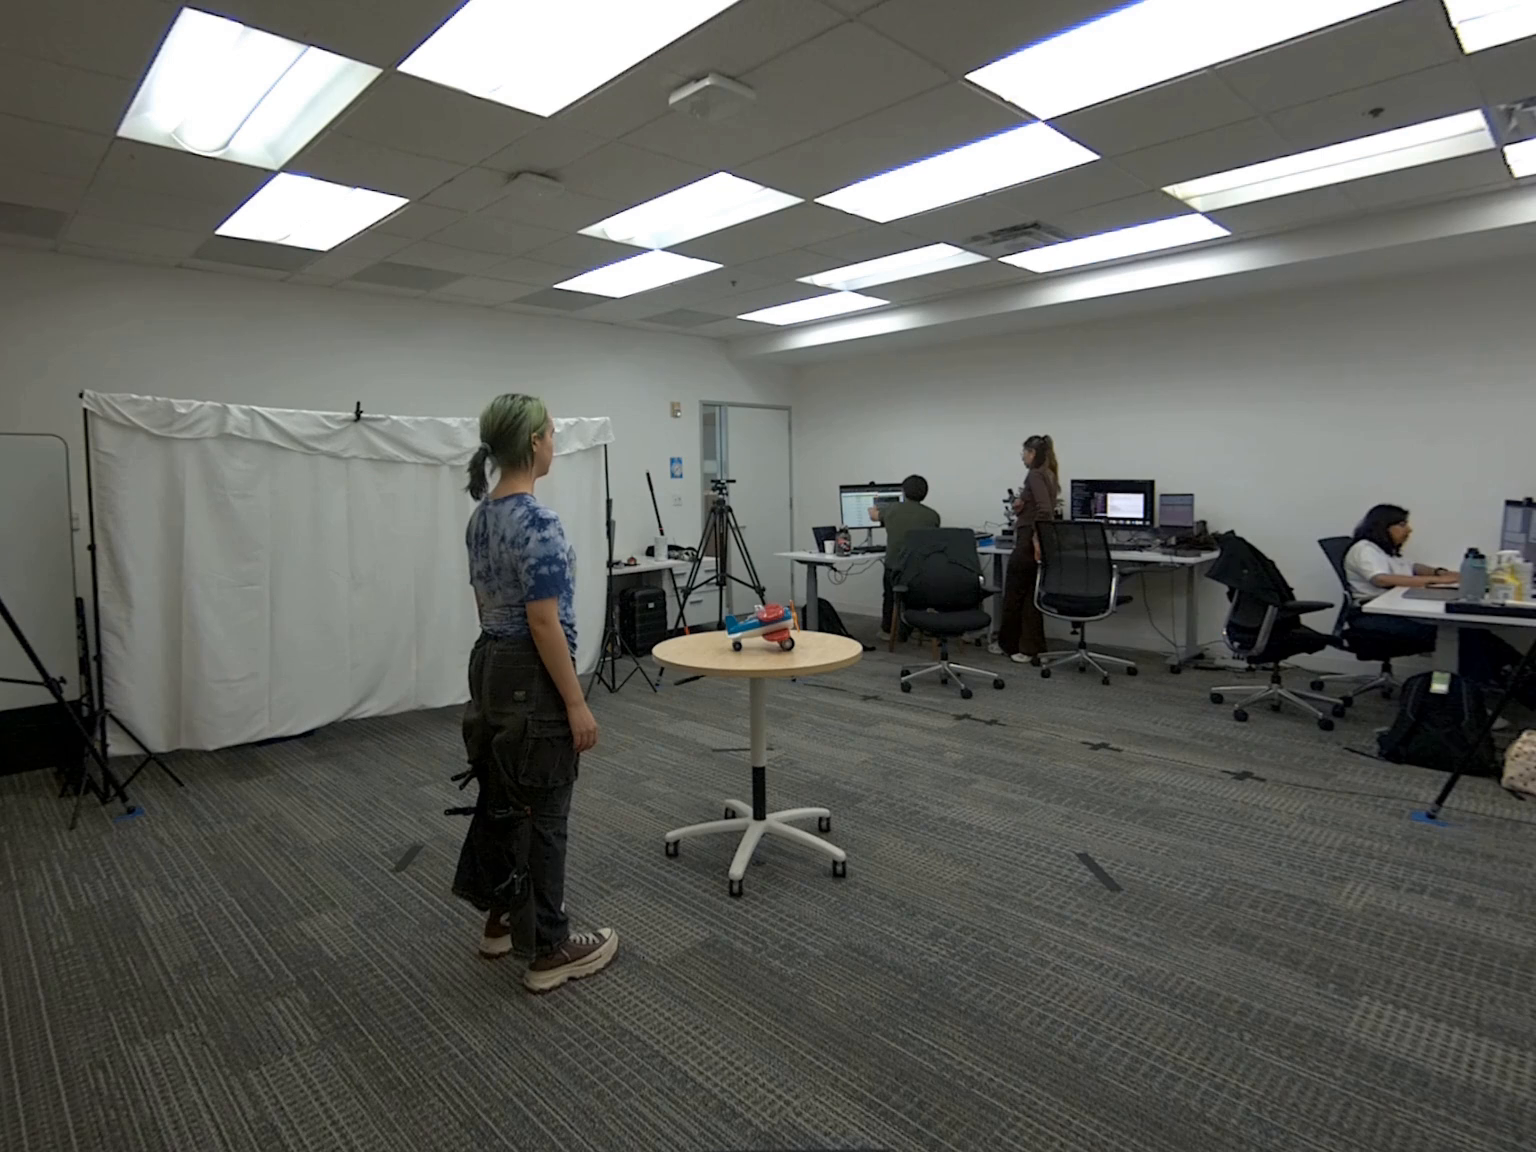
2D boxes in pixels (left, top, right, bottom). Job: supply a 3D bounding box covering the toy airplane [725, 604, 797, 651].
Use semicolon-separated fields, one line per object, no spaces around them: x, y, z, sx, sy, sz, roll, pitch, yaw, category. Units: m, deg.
-0.015;0.189;3.068;0.253;0.156;0.258;-3;5;-33;toy airplane
